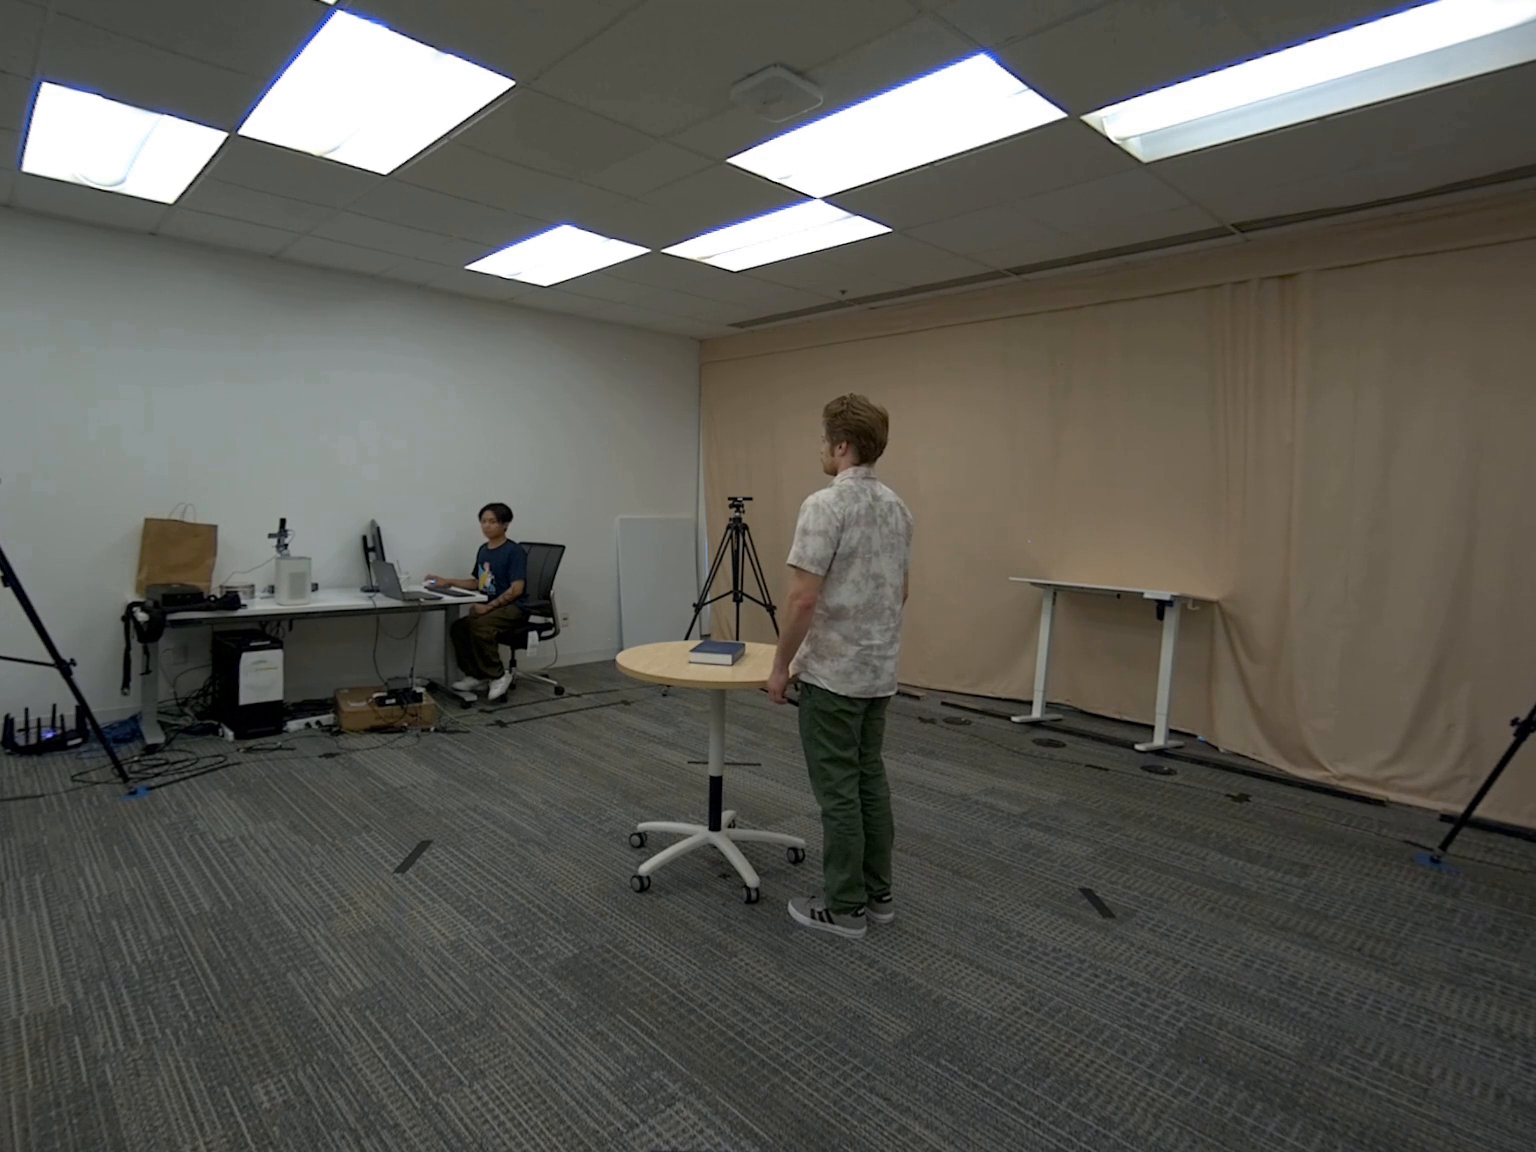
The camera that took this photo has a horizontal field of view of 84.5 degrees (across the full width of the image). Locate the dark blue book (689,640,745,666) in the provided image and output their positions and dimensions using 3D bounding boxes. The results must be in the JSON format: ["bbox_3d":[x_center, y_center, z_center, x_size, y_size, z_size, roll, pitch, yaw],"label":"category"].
[{"bbox_3d":[-0.194,0.288,3.146,0.165,0.045,0.244,3,5,8],"label":"dark blue book"}]
